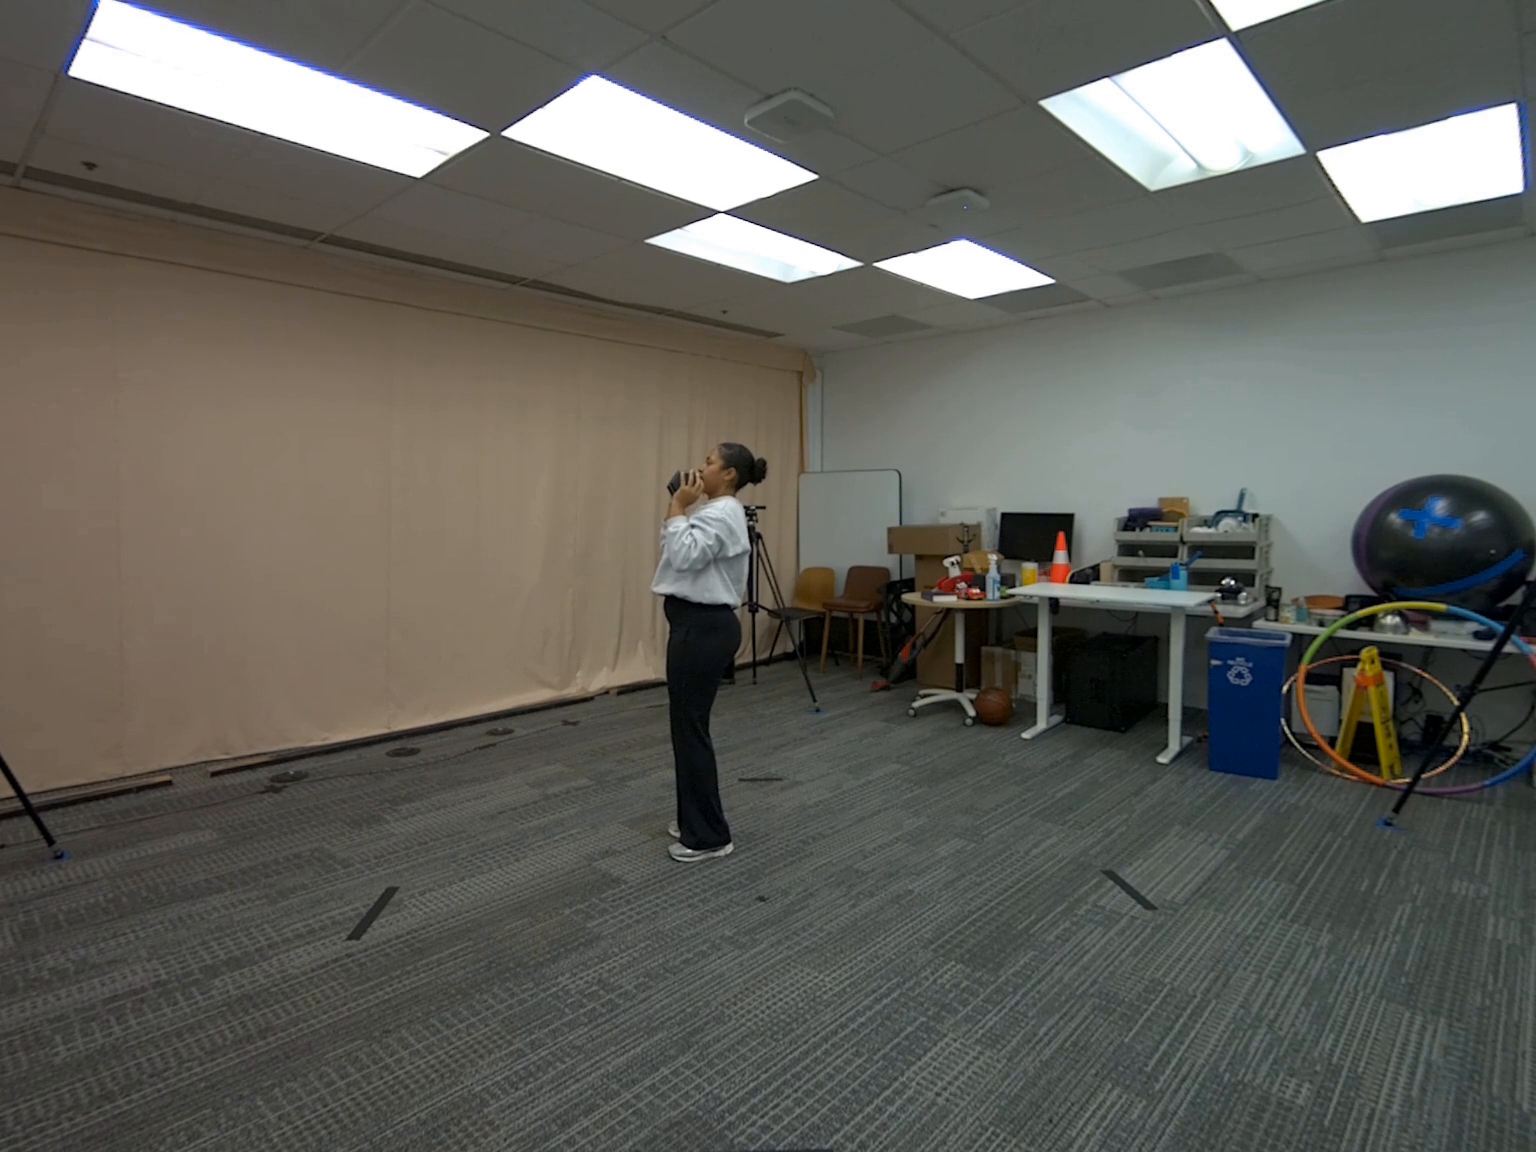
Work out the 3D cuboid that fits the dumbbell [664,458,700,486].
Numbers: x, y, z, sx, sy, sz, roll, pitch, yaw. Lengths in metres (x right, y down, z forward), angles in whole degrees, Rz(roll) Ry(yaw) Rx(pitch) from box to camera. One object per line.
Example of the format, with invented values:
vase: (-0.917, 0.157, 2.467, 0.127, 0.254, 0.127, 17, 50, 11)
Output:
dumbbell: (-0.327, -0.379, 3.400, 0.108, 0.122, 0.297, -32, 8, -8)
